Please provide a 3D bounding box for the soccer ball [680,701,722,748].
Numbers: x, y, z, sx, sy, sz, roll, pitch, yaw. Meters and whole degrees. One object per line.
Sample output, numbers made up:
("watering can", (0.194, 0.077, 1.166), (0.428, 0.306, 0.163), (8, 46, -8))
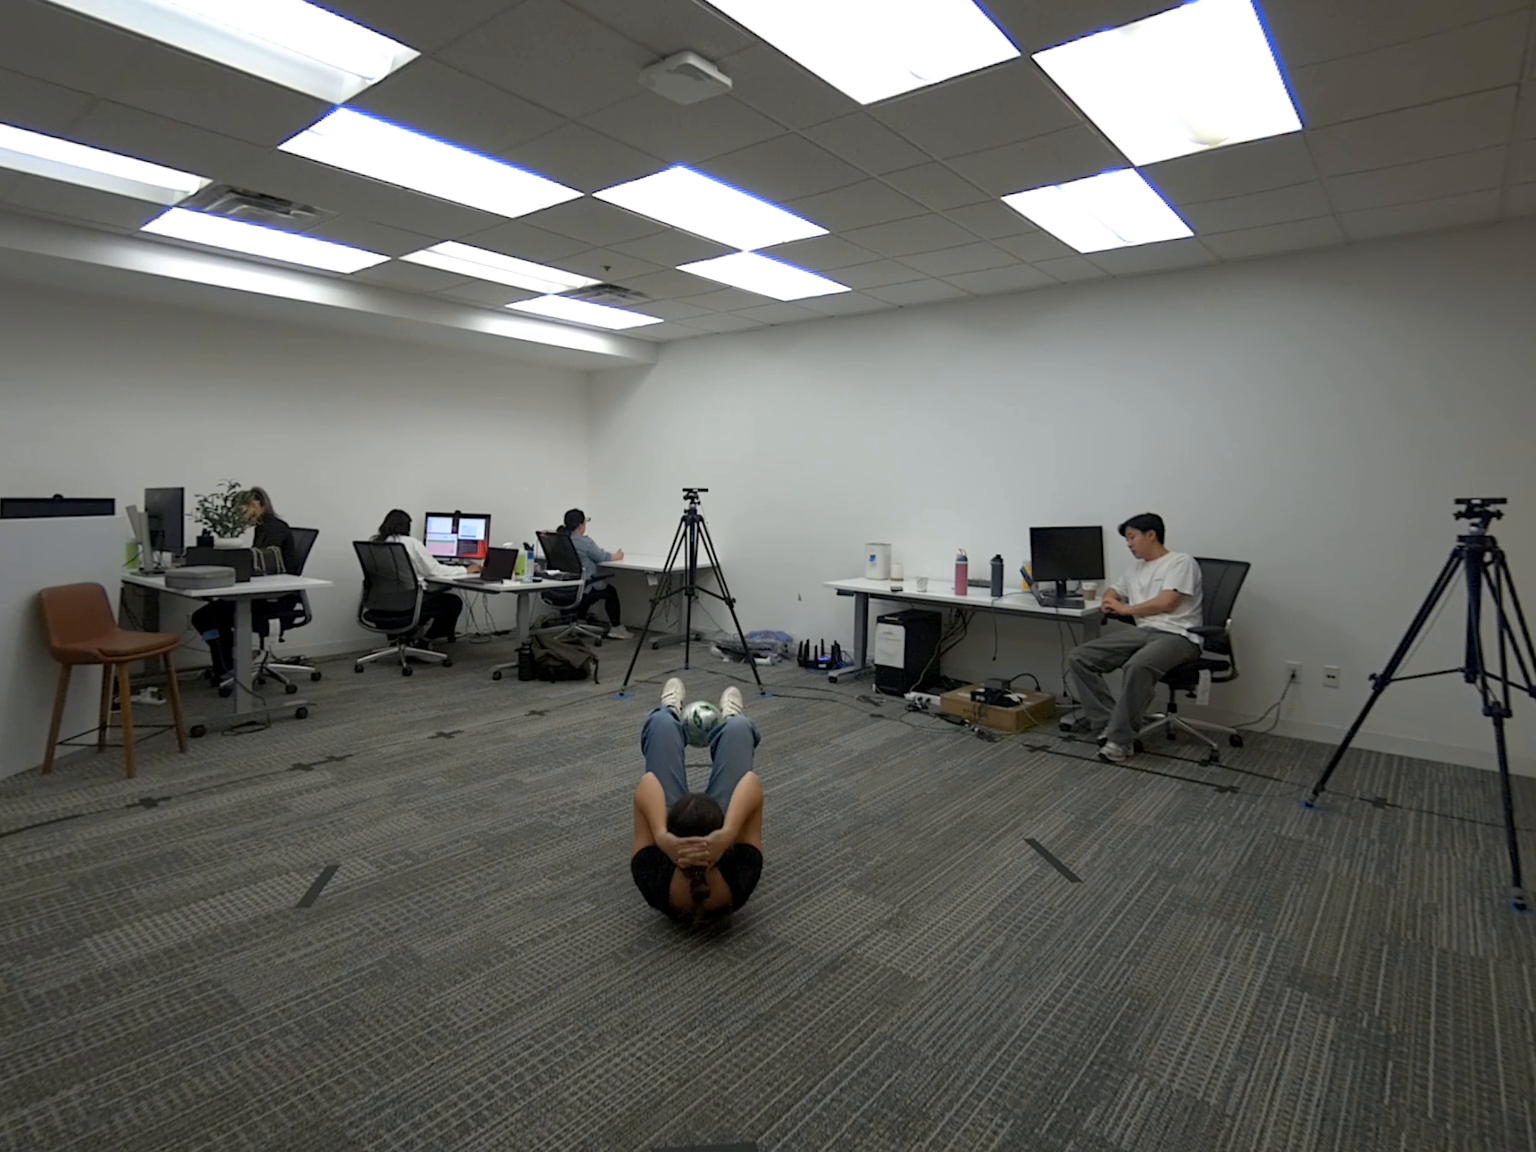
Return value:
("soccer ball", (-0.276, 0.601, 3.476), (0.187, 0.187, 0.188), (-3, 4, -2))
